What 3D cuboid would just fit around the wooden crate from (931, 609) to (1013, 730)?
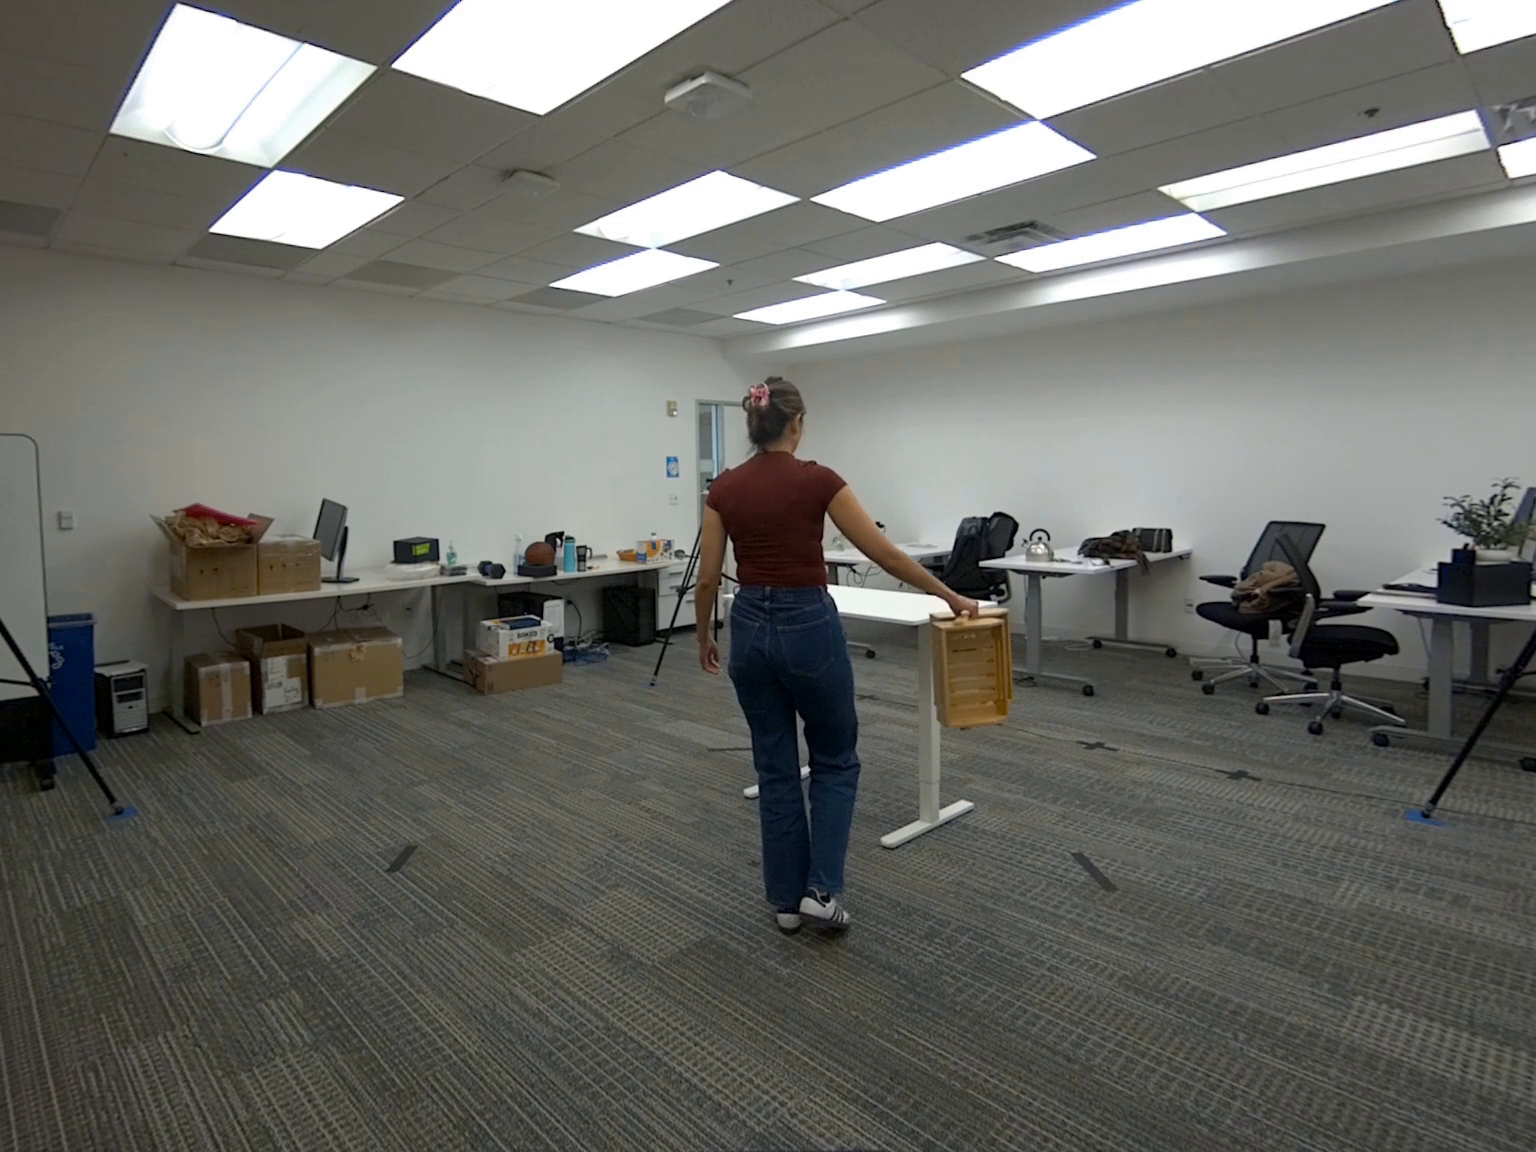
[{"bbox_3d":[0.653,0.273,2.650,0.300,0.323,0.276,-5,4,-6],"label":"wooden crate"}]
